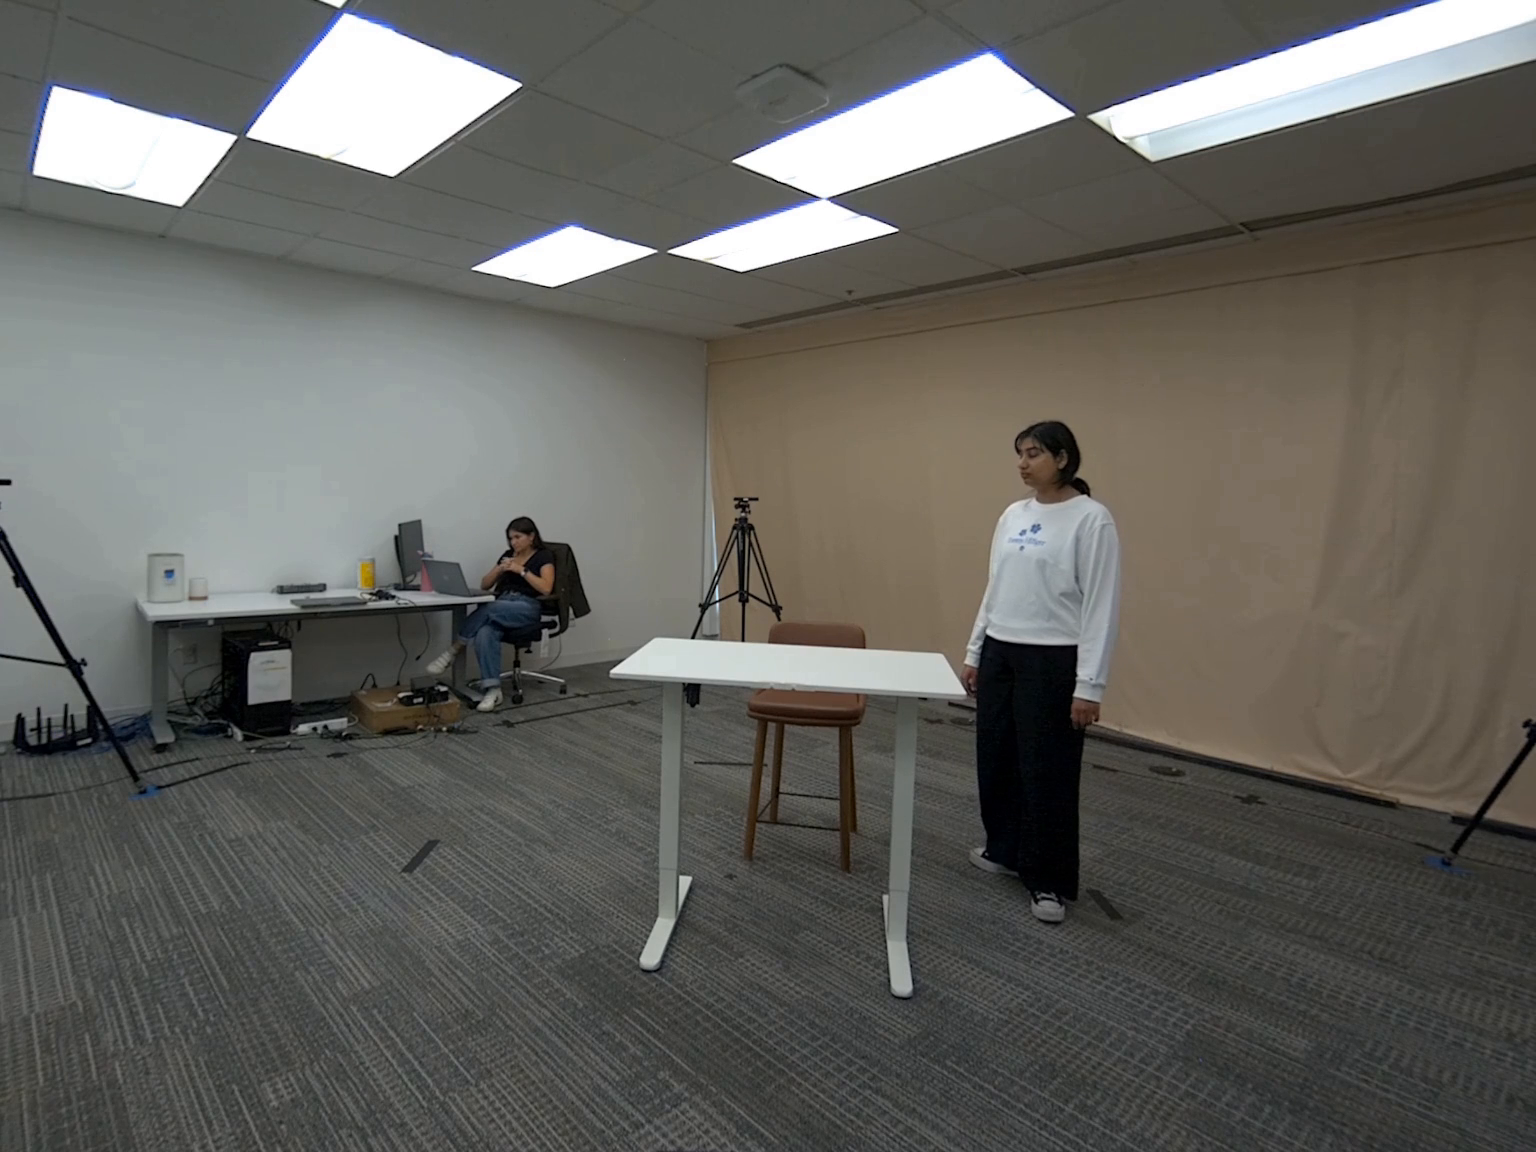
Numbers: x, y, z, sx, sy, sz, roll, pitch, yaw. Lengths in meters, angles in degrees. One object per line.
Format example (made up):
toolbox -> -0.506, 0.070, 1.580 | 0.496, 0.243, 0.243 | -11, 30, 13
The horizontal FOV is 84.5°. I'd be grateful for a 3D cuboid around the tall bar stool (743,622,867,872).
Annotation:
tall bar stool -> 0.152, 0.659, 3.407 | 0.462, 0.889, 0.462 | 2, 1, 14
